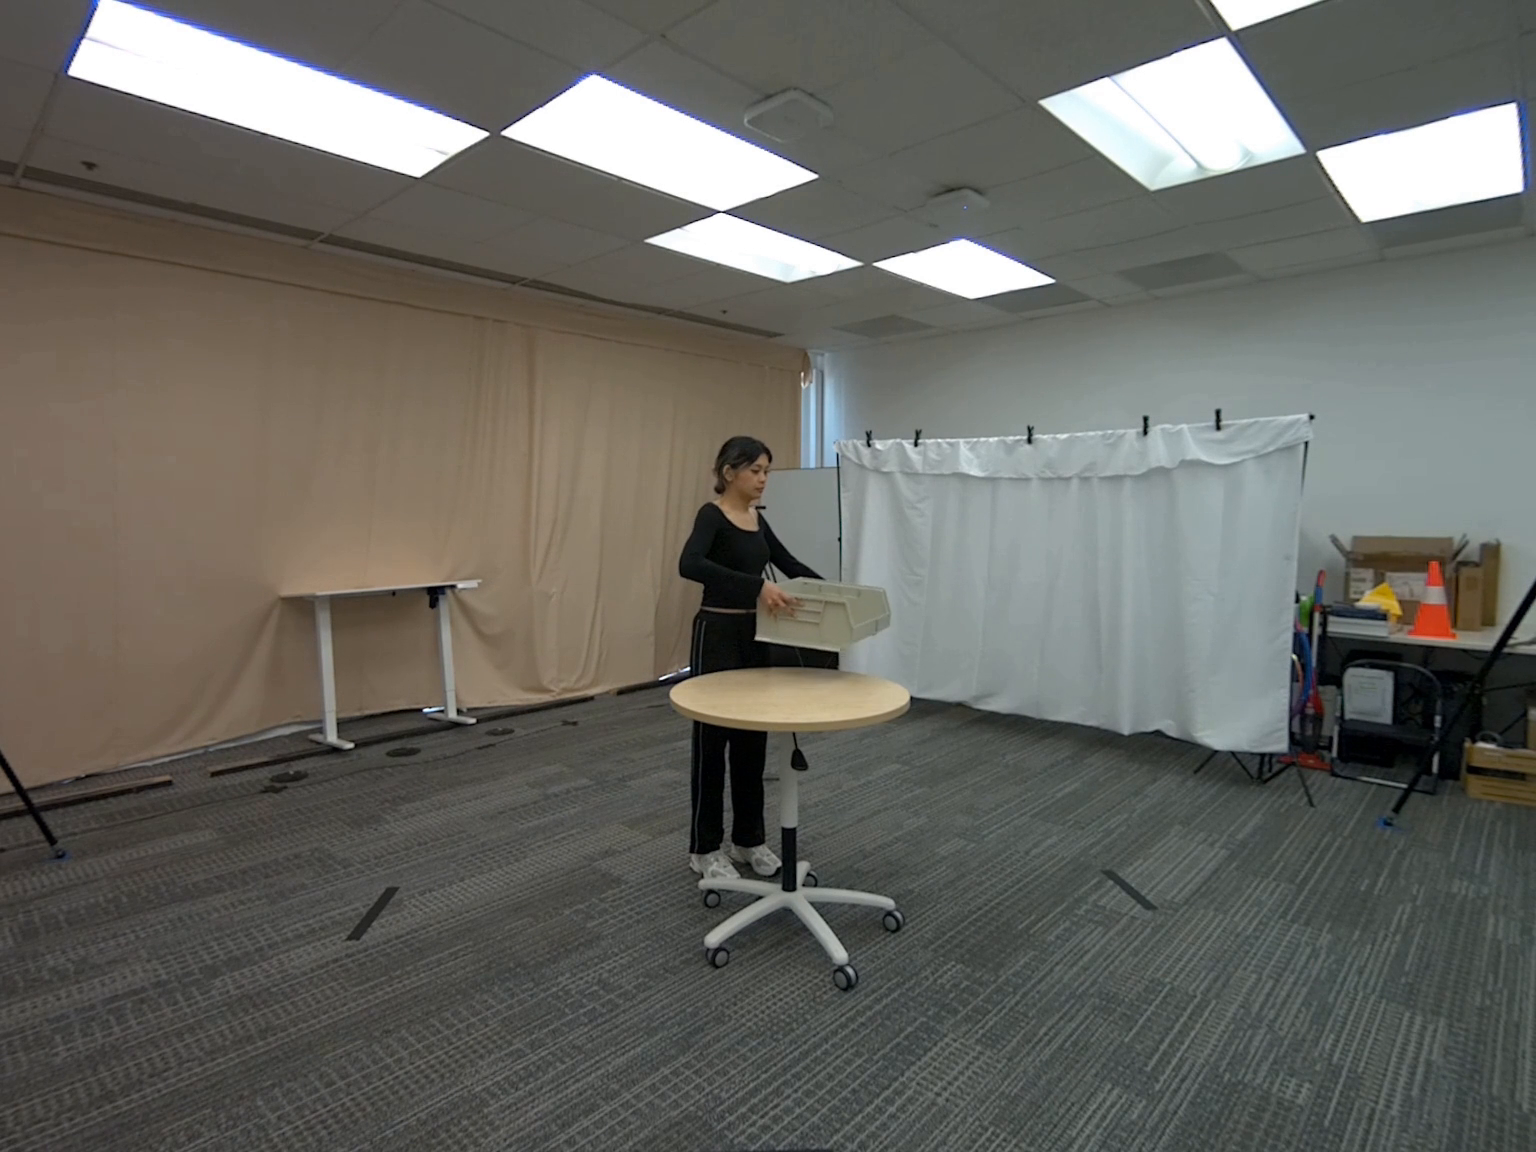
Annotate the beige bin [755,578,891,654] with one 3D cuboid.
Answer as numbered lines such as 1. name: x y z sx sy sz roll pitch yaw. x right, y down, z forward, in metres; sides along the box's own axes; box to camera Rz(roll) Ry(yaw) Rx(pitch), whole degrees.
1. beige bin: 0.203 0.137 3.042 0.387 0.188 0.413 5 8 25
